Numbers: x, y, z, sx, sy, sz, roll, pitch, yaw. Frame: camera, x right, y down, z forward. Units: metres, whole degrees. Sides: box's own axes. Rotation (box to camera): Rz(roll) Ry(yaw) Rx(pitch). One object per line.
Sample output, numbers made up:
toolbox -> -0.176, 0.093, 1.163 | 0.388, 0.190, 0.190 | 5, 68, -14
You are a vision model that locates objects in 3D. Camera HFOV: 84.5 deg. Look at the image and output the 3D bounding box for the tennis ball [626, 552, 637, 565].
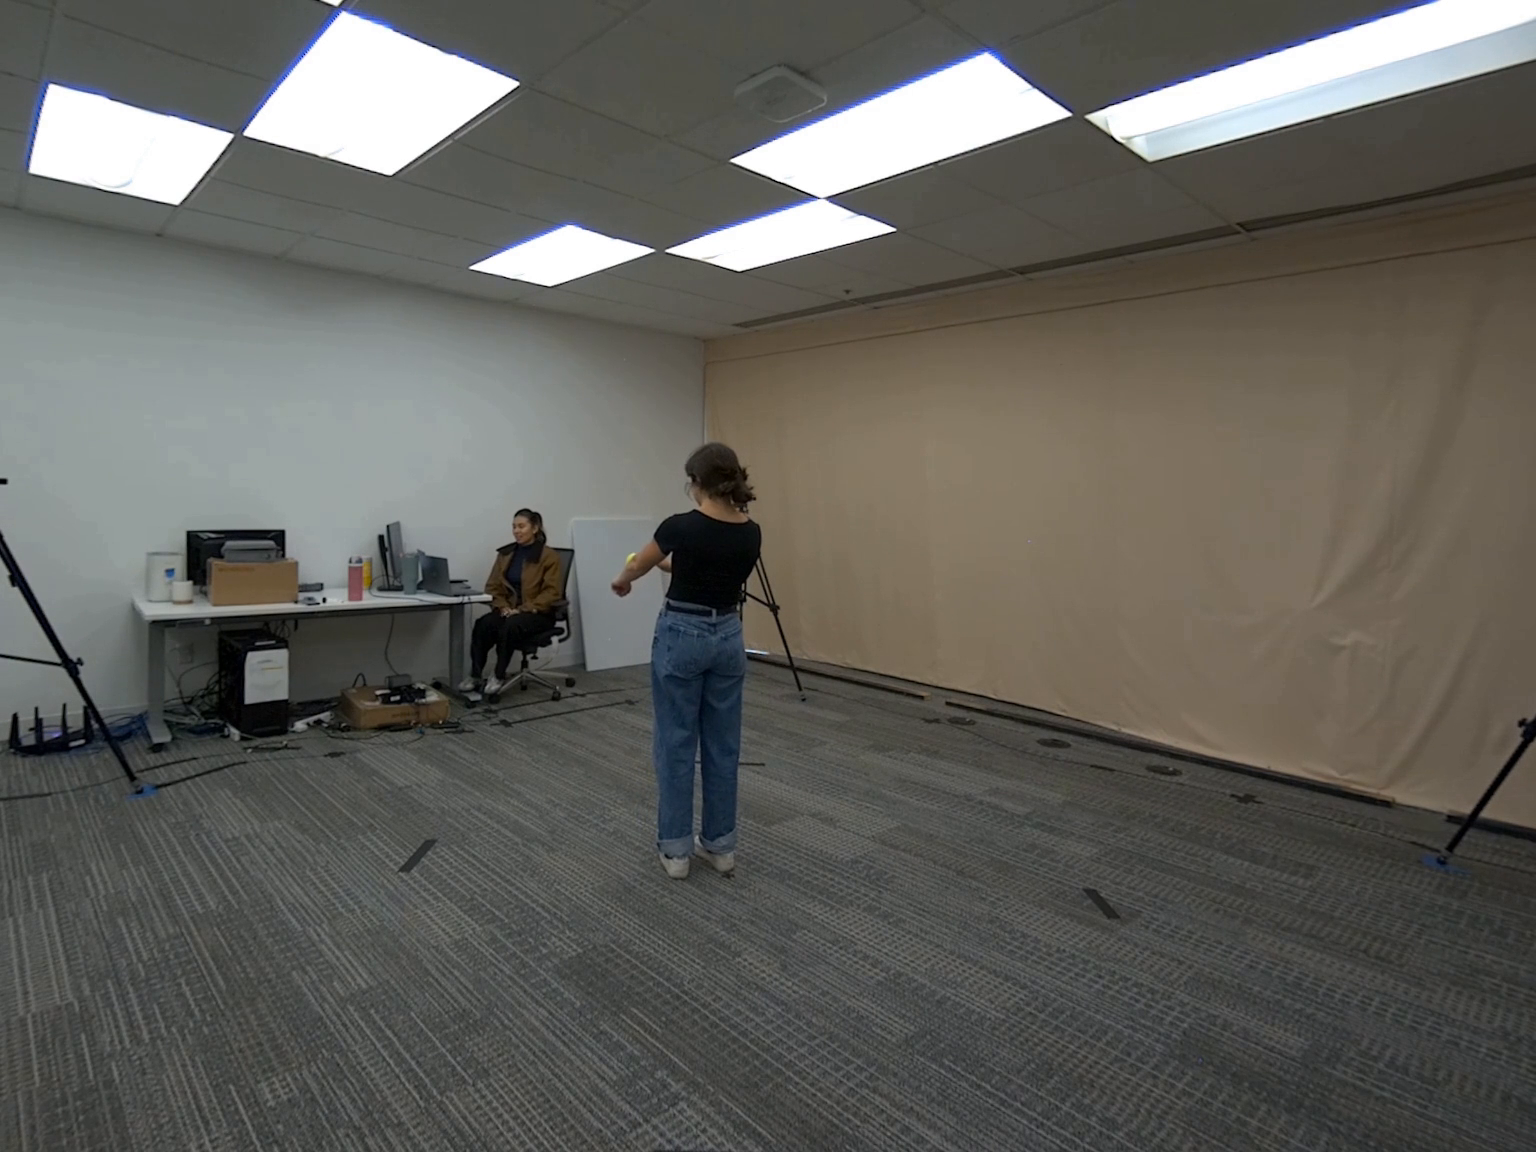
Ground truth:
tennis ball -> -0.512, -0.050, 3.336 | 0.066, 0.066, 0.067 | 1, 4, -1
